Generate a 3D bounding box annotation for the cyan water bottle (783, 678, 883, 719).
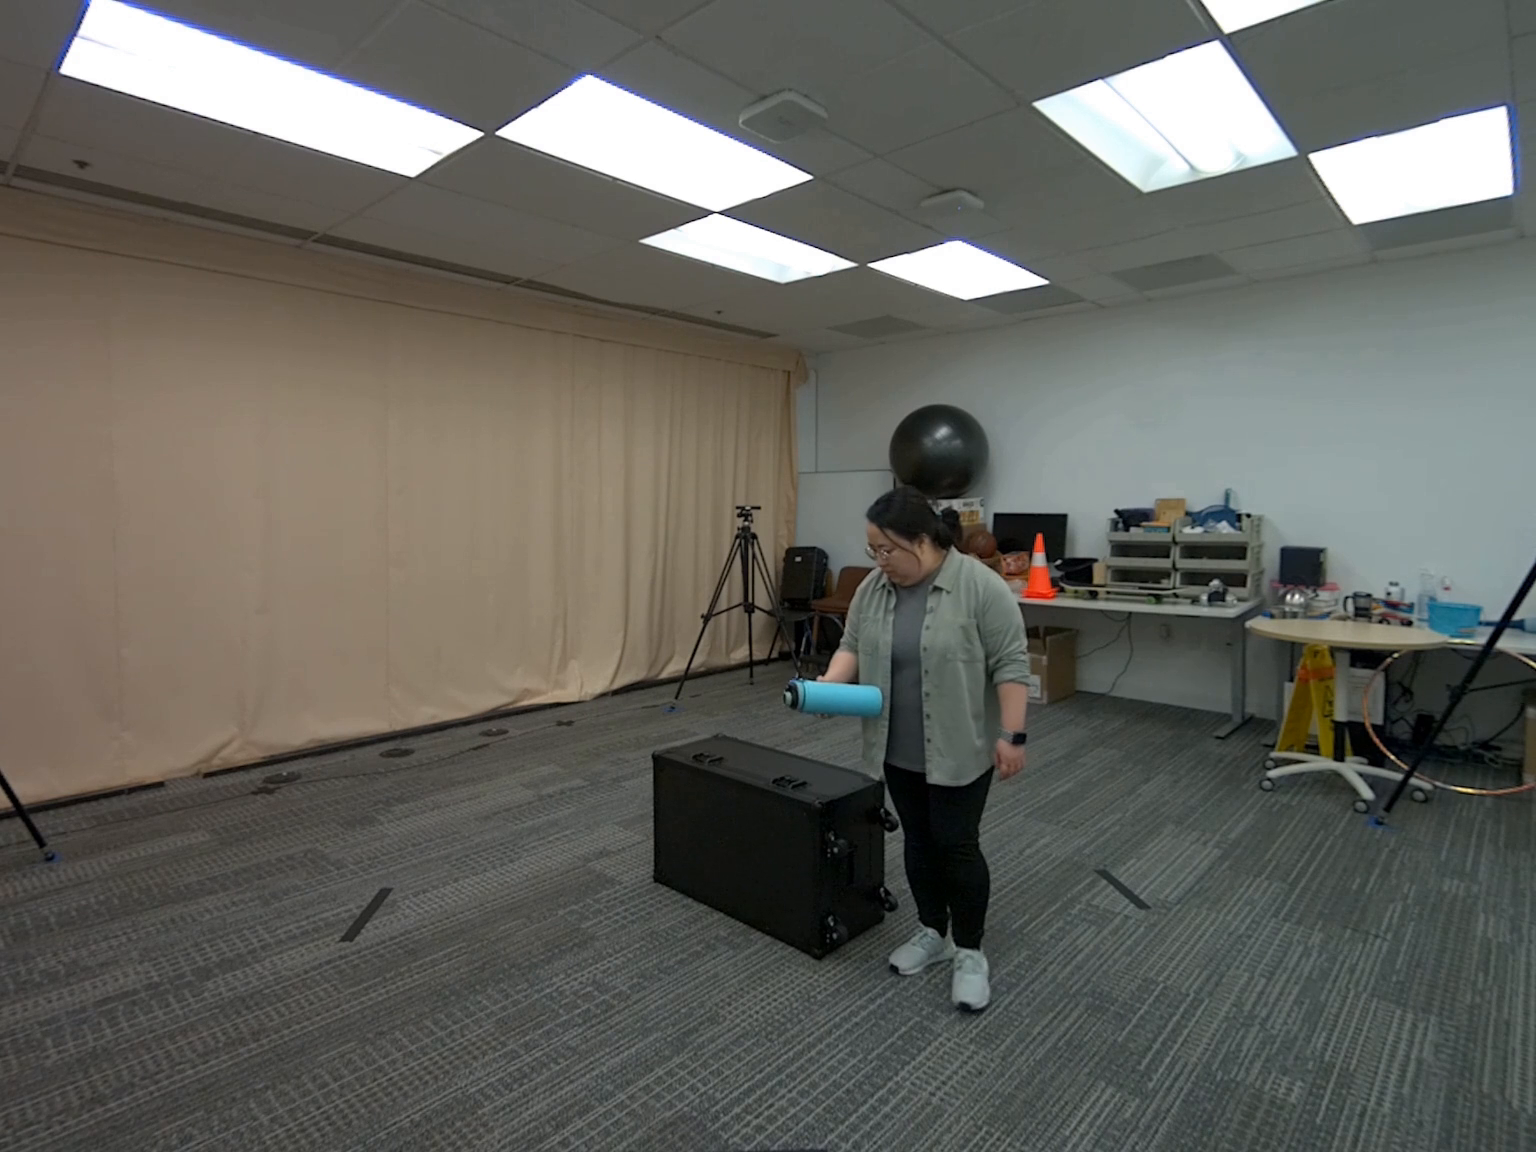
[{"bbox_3d":[0.190,0.358,2.424,0.279,0.092,0.094,6,2,-15],"label":"cyan water bottle"}]
